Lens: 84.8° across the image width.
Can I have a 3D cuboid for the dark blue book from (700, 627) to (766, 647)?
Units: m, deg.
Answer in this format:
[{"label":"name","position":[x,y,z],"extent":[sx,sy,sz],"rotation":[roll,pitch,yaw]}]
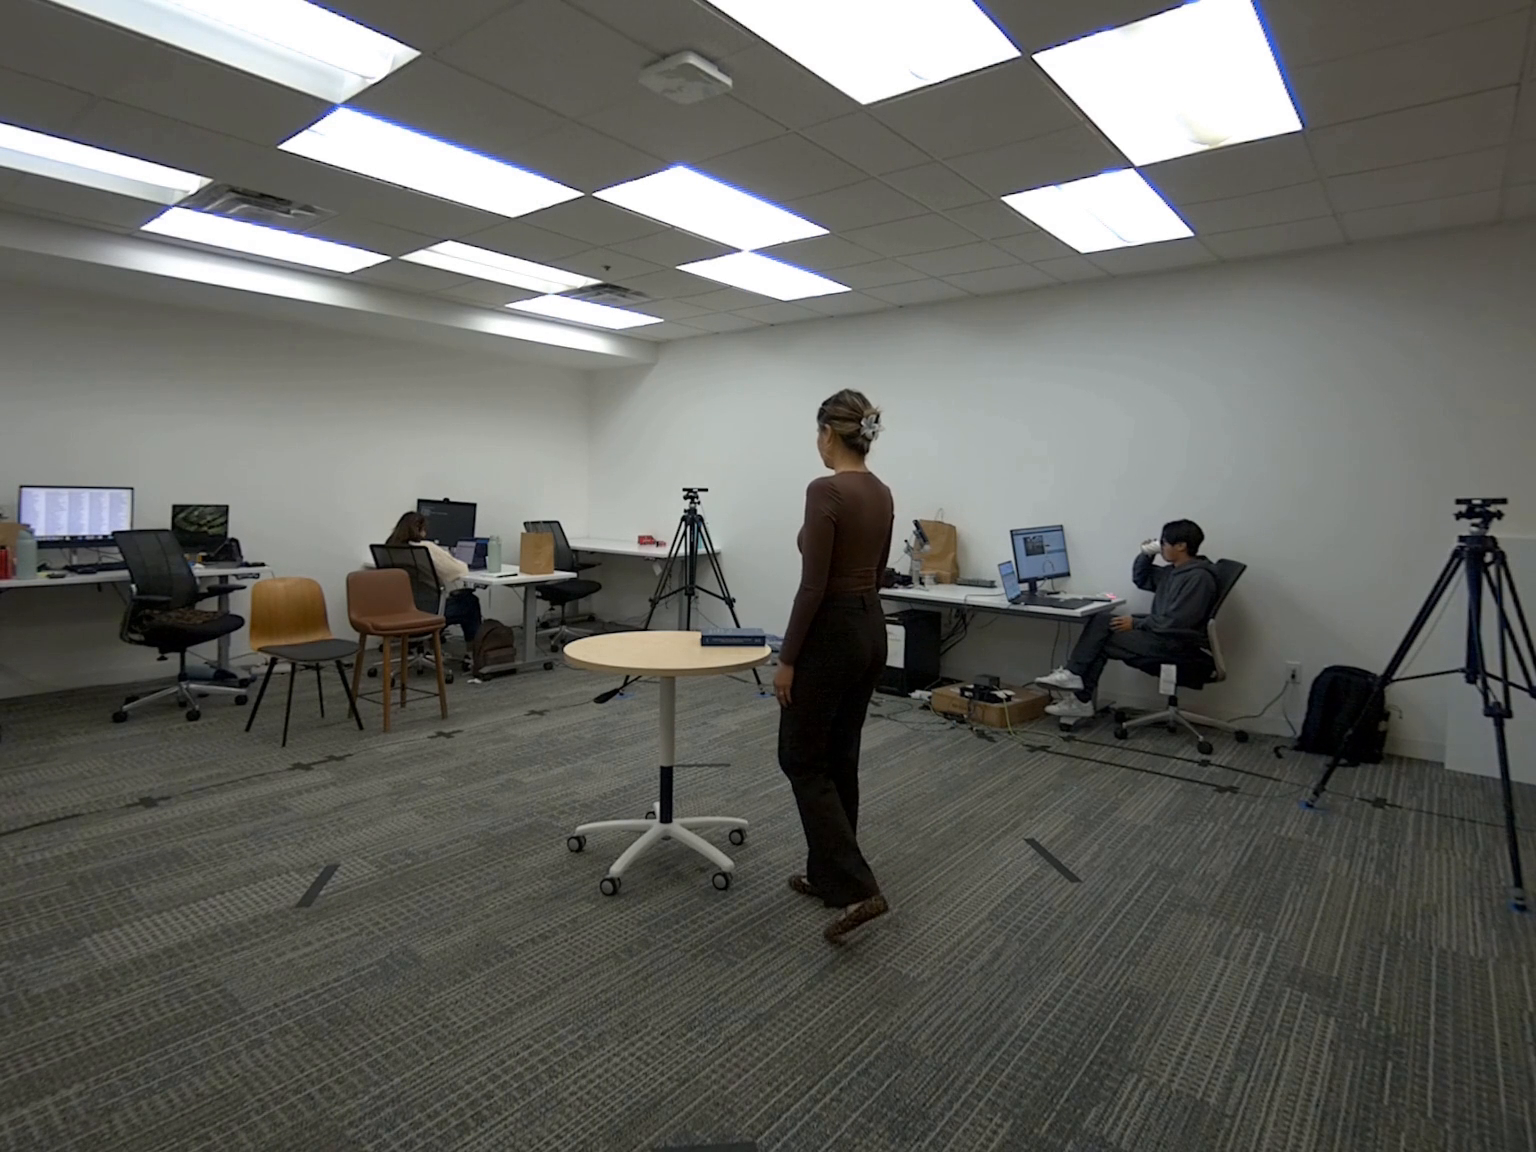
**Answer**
[{"label":"dark blue book","position":[-0.156,0.235,3.285],"extent":[0.244,0.045,0.164],"rotation":[1,5,-3]}]
